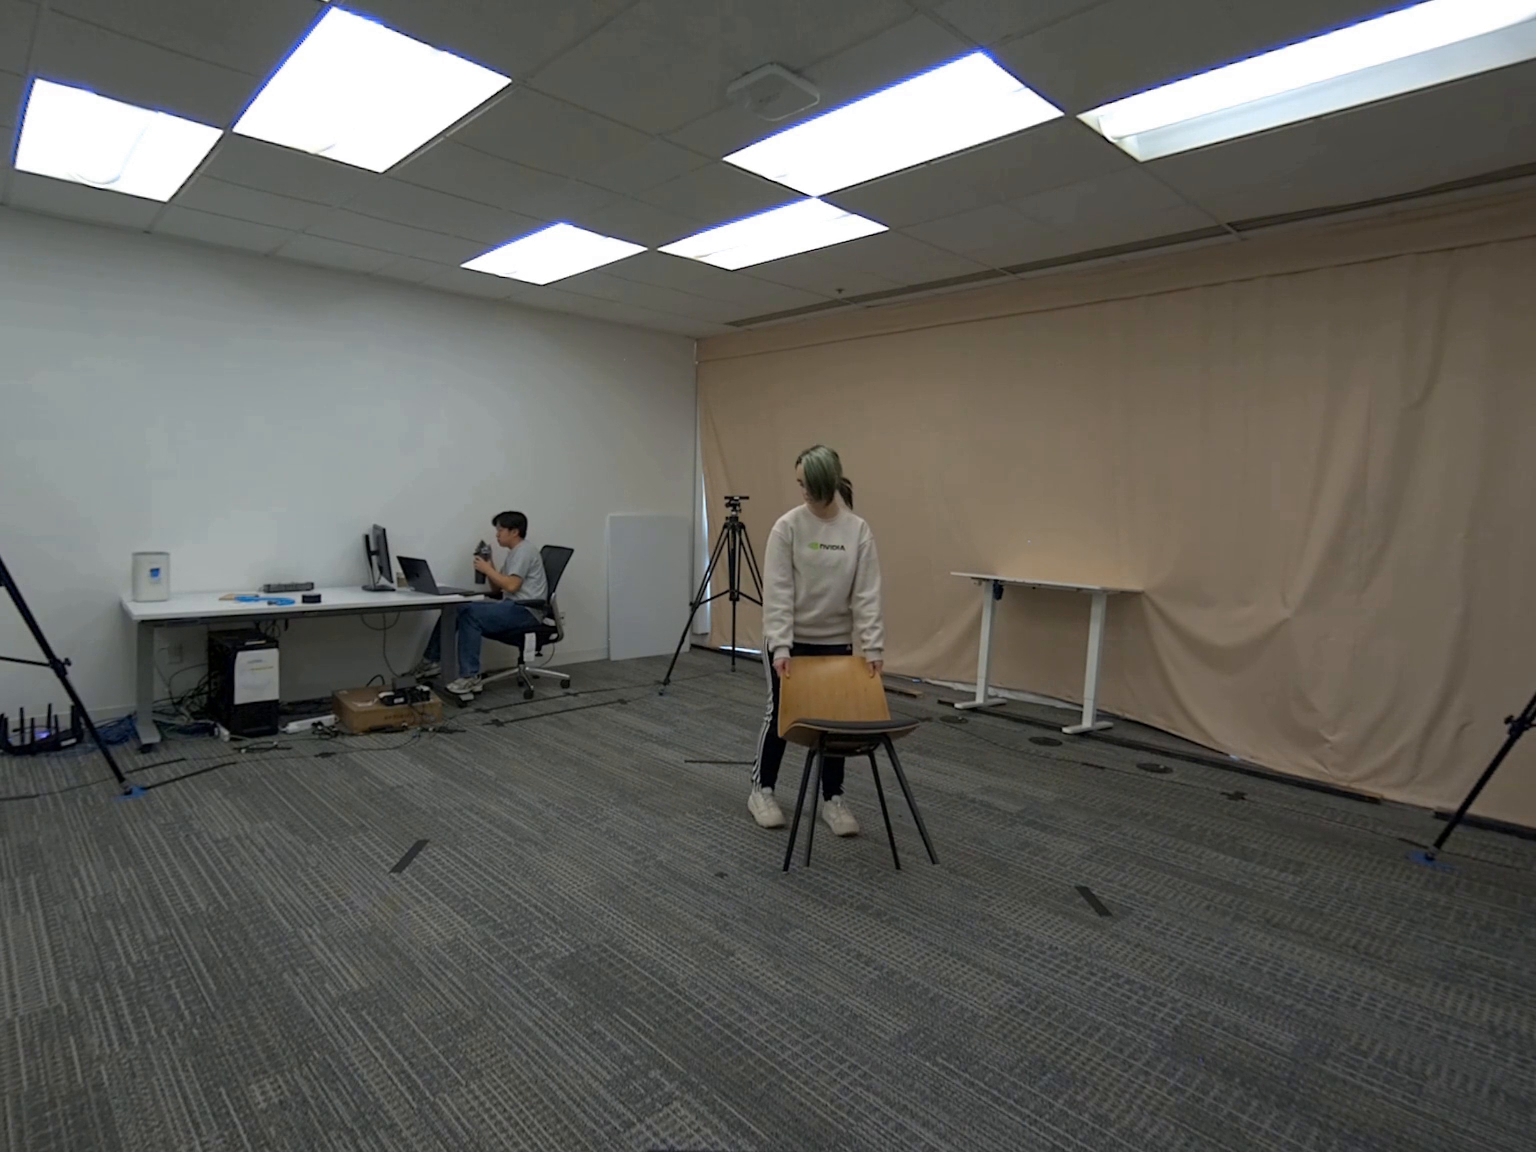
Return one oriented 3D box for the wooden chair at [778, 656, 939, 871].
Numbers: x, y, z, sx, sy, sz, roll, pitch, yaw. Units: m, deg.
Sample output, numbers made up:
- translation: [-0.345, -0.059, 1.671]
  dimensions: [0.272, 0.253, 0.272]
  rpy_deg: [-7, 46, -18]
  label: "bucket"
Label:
- translation: [0.286, 0.632, 3.104]
  dimensions: [0.475, 0.894, 0.517]
  rpy_deg: [2, -27, -8]
  label: "wooden chair"
